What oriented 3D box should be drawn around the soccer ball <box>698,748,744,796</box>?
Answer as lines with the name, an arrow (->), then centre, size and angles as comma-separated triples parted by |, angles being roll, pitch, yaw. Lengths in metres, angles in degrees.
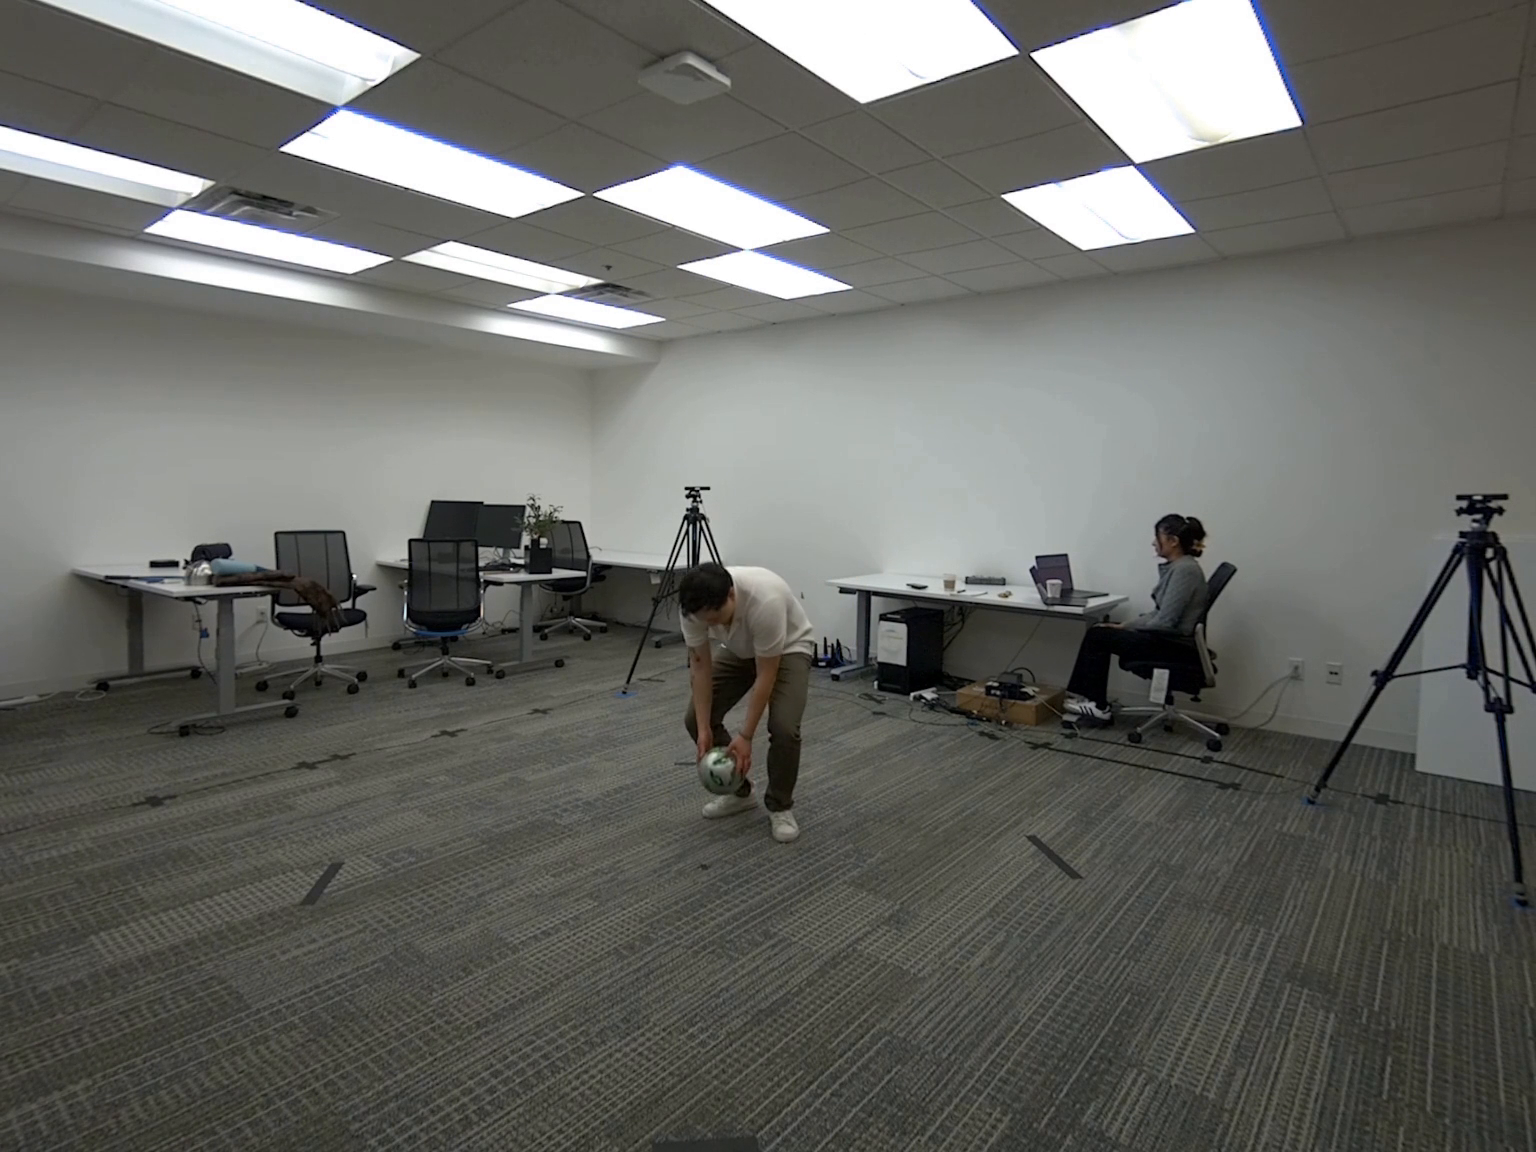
soccer ball -> -0.197, 0.761, 3.352 | 0.187, 0.187, 0.188 | 1, 4, -2
